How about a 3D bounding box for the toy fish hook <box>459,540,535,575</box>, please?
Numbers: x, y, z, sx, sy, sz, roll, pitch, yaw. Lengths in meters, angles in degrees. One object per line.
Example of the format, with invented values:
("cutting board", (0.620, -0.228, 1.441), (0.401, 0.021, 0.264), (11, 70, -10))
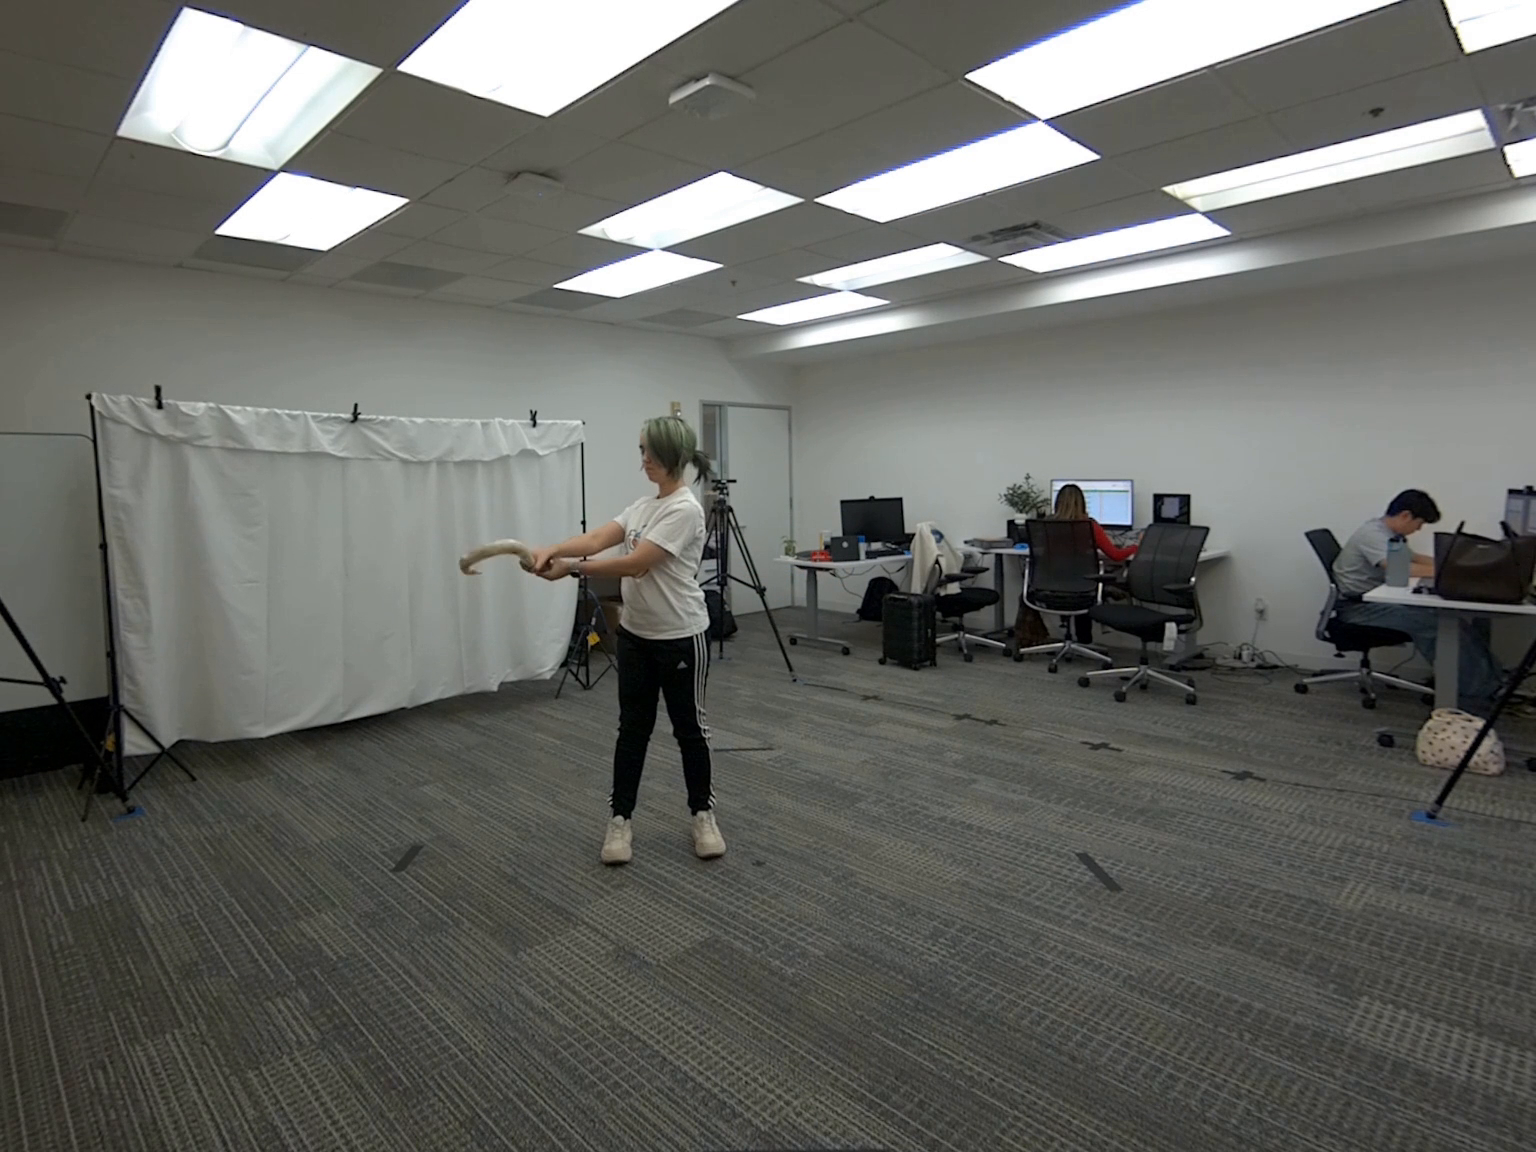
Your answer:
("toy fish hook", (-0.878, -0.041, 2.879), (0.225, 0.049, 0.496), (-20, -13, 4))
